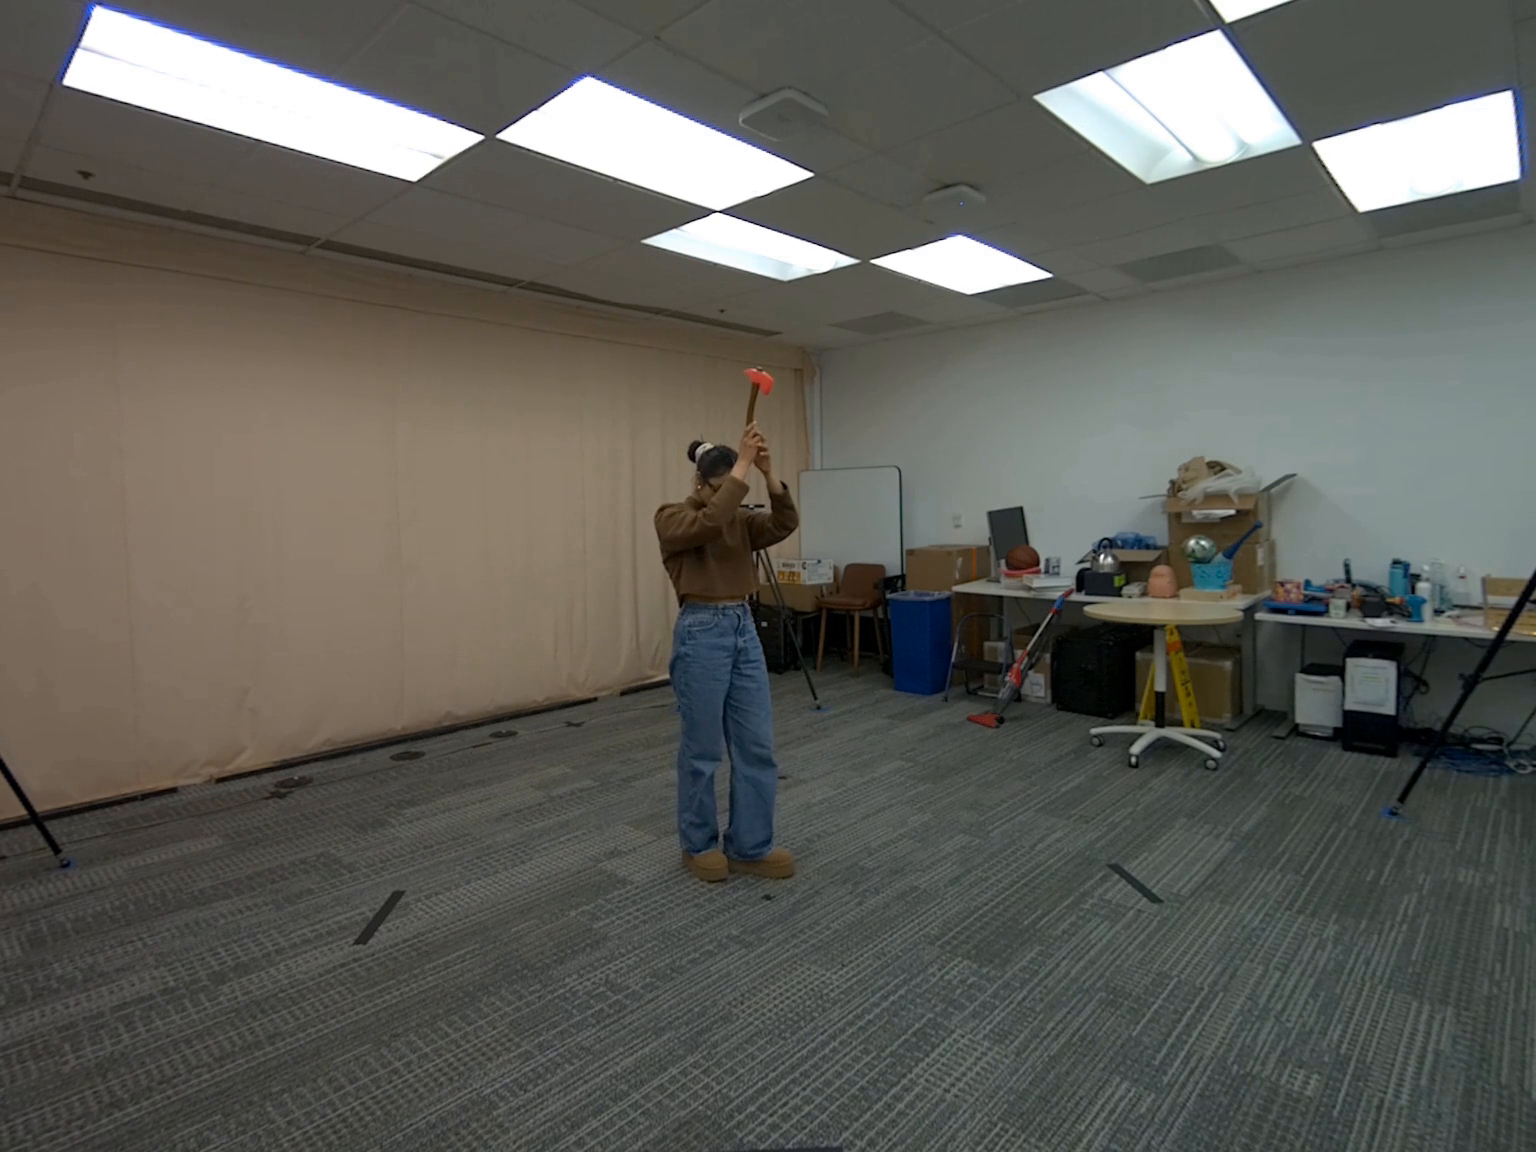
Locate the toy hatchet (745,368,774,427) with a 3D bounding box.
[{"bbox_3d":[-0.027,-0.595,2.930,0.135,0.268,0.029,7,13,40],"label":"toy hatchet"}]
